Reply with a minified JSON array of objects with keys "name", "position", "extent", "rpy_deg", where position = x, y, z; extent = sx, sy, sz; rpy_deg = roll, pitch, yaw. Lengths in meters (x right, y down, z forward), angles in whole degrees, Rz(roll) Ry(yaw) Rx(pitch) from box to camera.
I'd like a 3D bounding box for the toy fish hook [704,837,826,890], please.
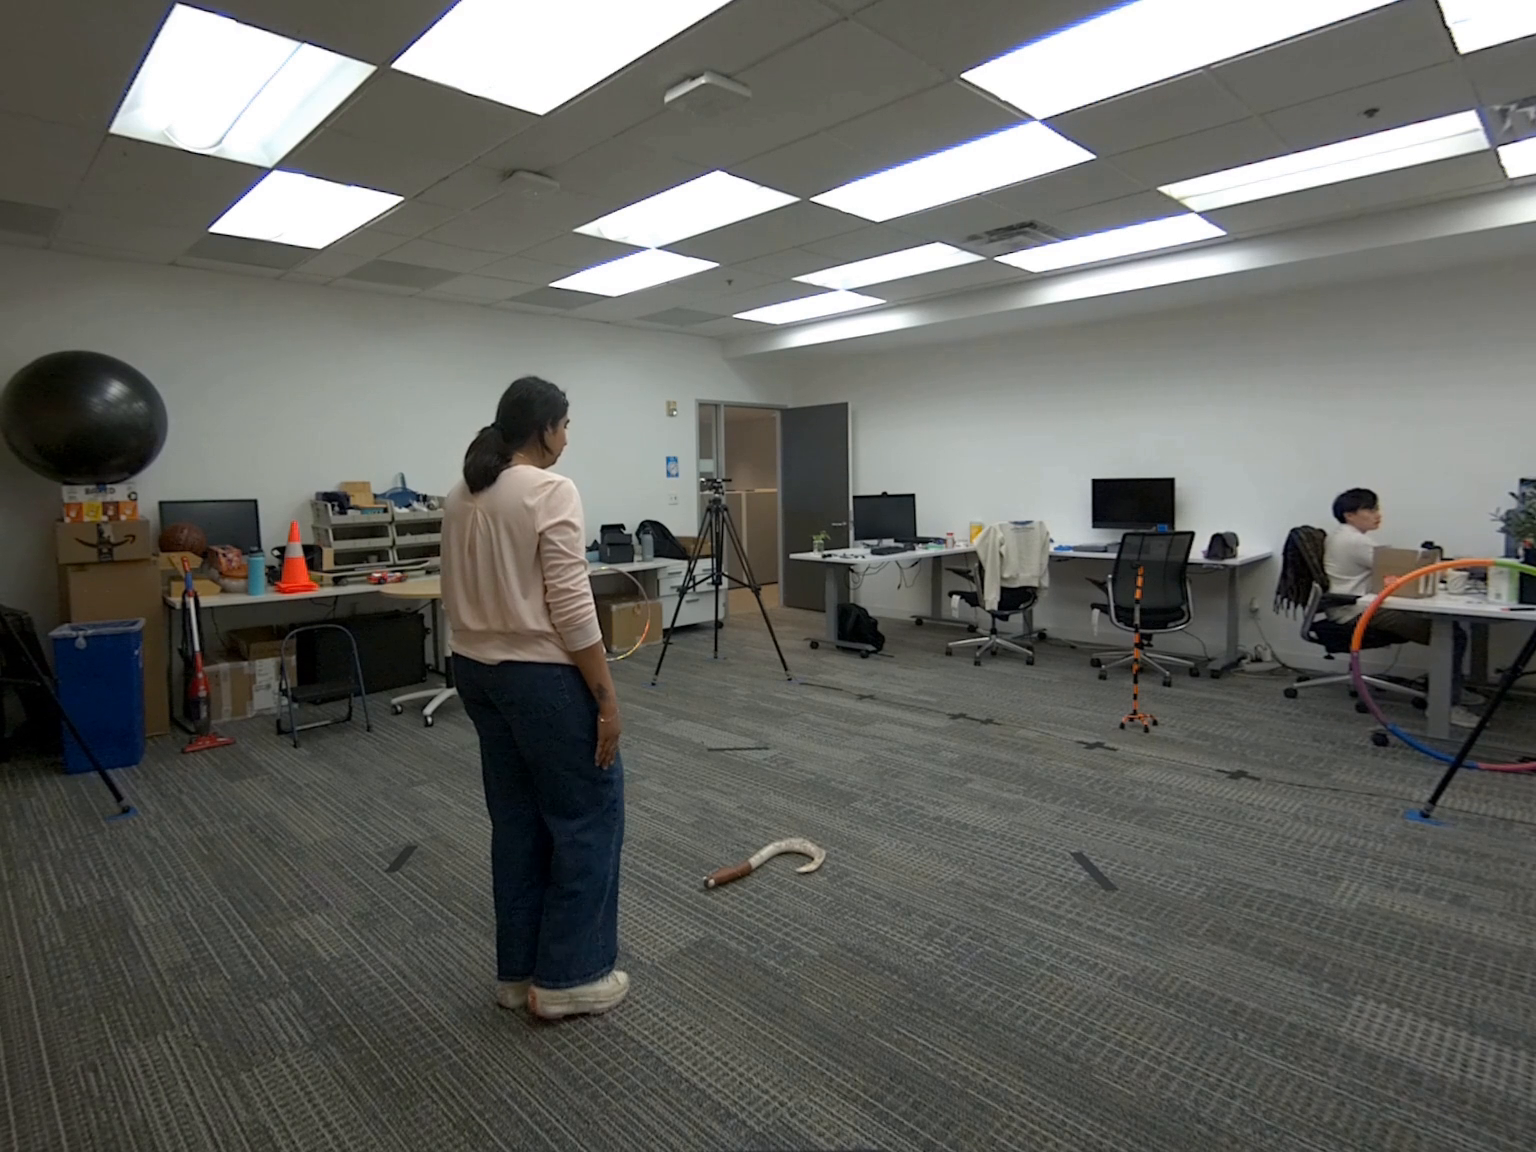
[{"name":"toy fish hook","position":[0.003,1.030,3.028],"extent":[0.493,0.048,0.231],"rpy_deg":[-7,8,-42]}]
